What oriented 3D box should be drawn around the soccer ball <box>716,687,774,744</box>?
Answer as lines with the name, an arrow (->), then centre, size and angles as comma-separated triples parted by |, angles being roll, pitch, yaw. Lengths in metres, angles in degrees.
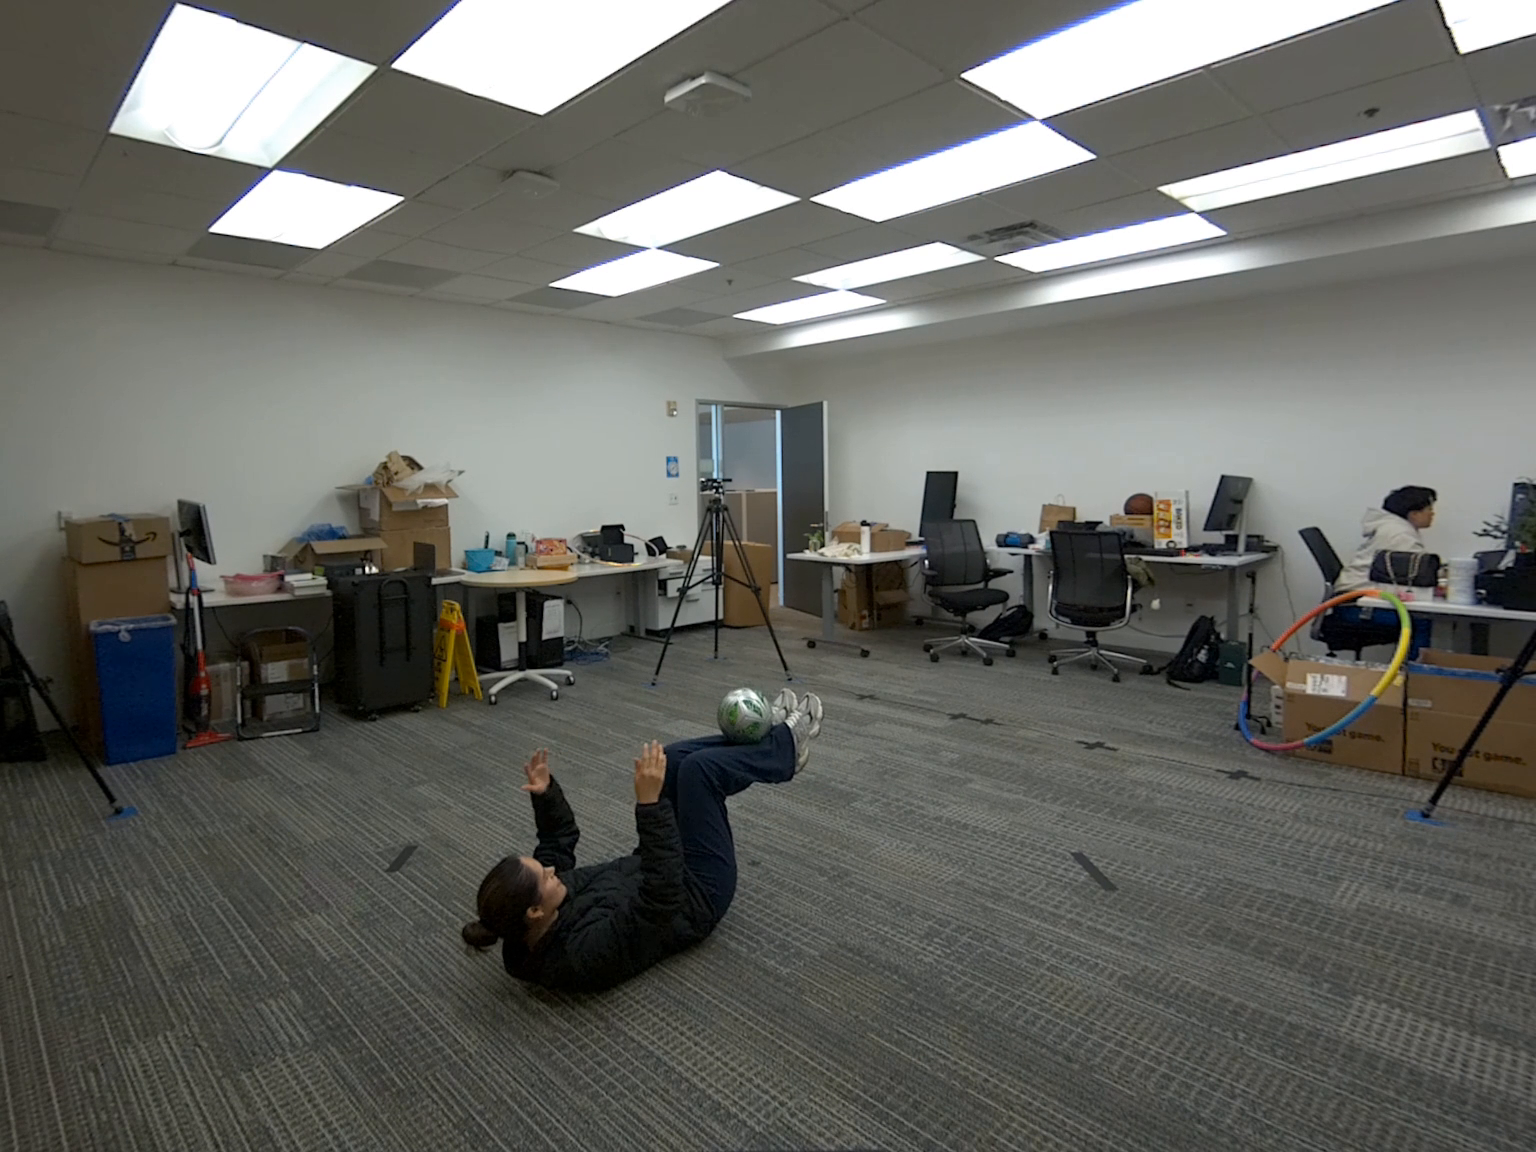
soccer ball -> -0.071, 0.469, 2.835 | 0.187, 0.187, 0.188 | 0, 1, -2
